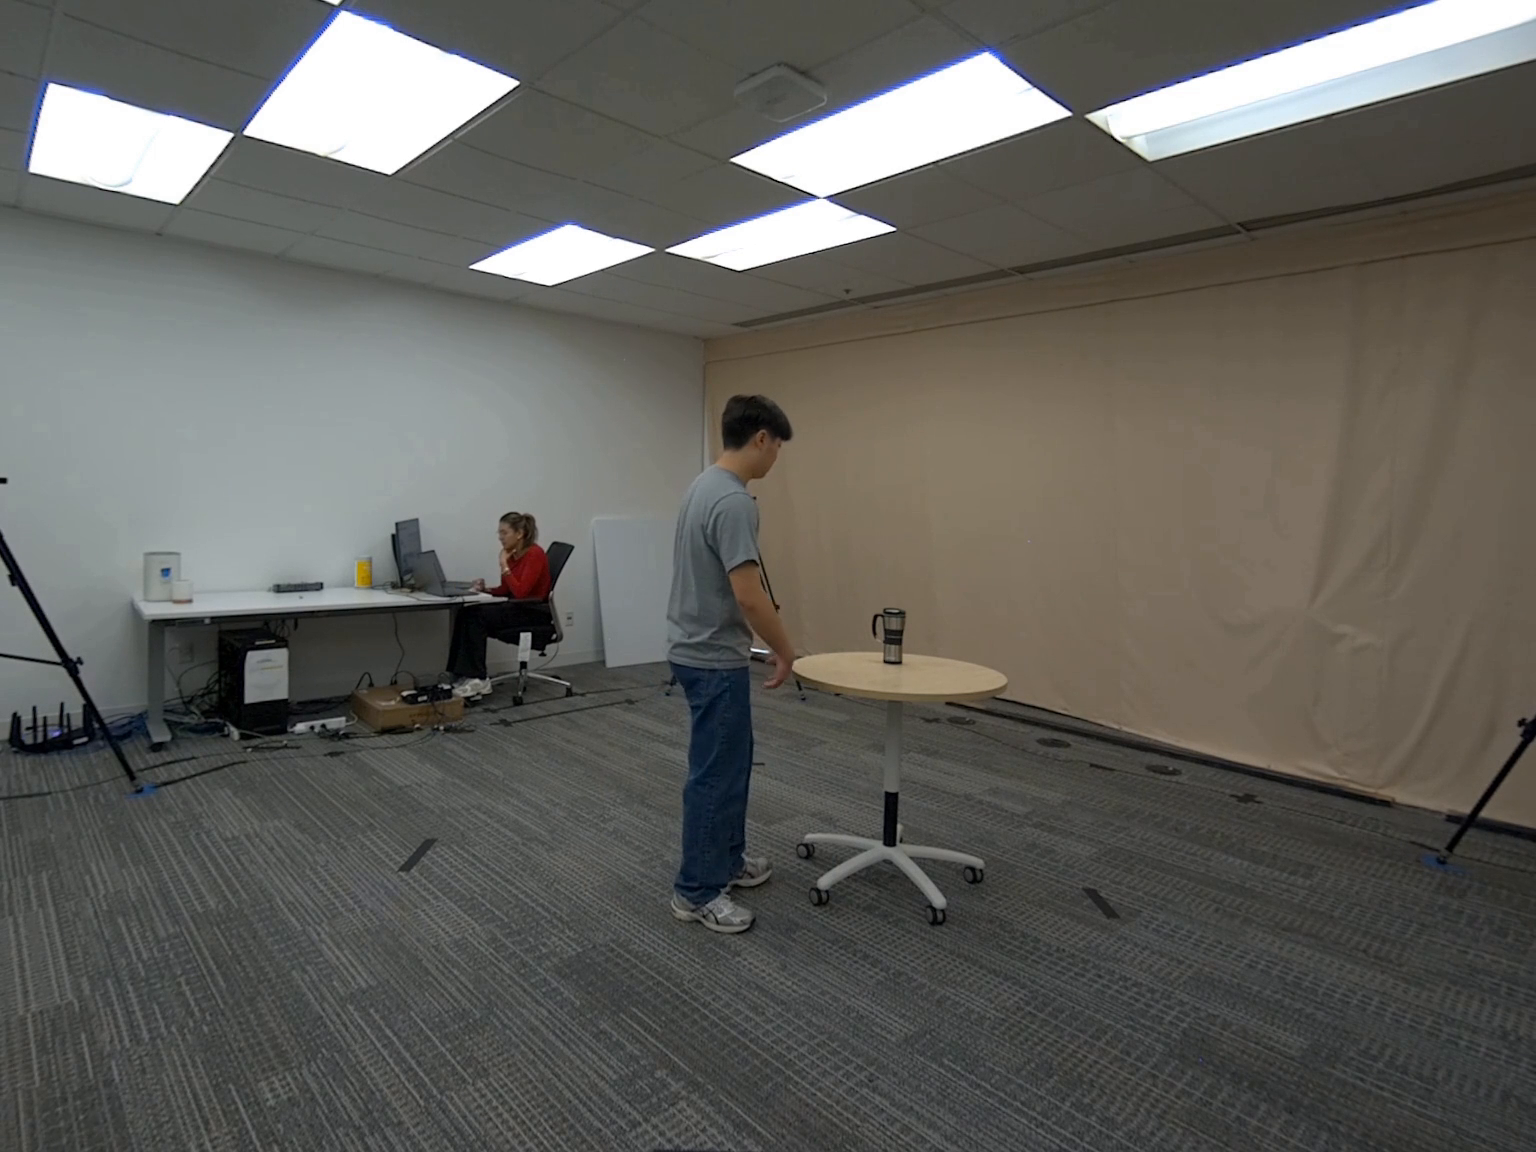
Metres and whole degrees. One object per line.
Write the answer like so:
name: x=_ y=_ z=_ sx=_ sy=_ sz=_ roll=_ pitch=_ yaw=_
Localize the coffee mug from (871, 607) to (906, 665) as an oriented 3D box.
coffee mug: x=0.459 y=0.231 z=3.211 sx=0.125 sy=0.202 sz=0.086 roll=10 pitch=11 yaw=41
